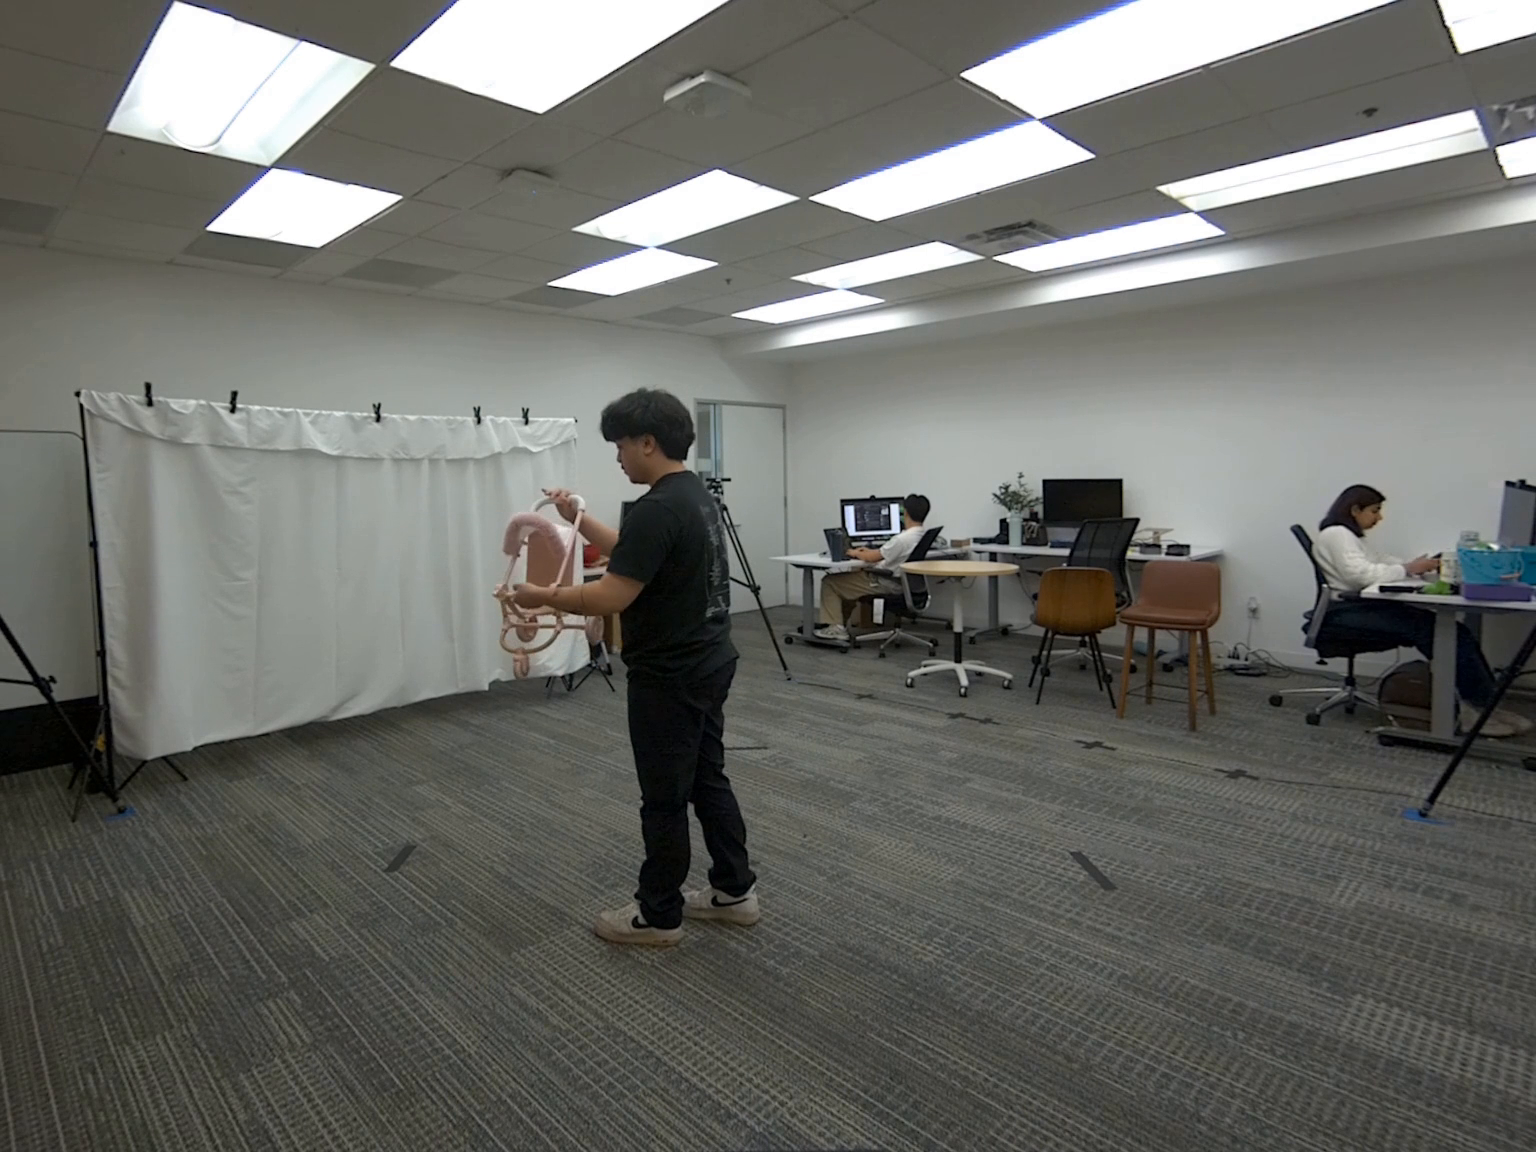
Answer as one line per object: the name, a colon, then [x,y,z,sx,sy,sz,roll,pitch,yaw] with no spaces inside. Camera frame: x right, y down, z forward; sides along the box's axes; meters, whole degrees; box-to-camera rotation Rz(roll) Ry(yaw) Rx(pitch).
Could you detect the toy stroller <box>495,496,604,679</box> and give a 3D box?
toy stroller: [-0.714,0.026,2.681,0.287,0.532,0.336,1,7,21]
